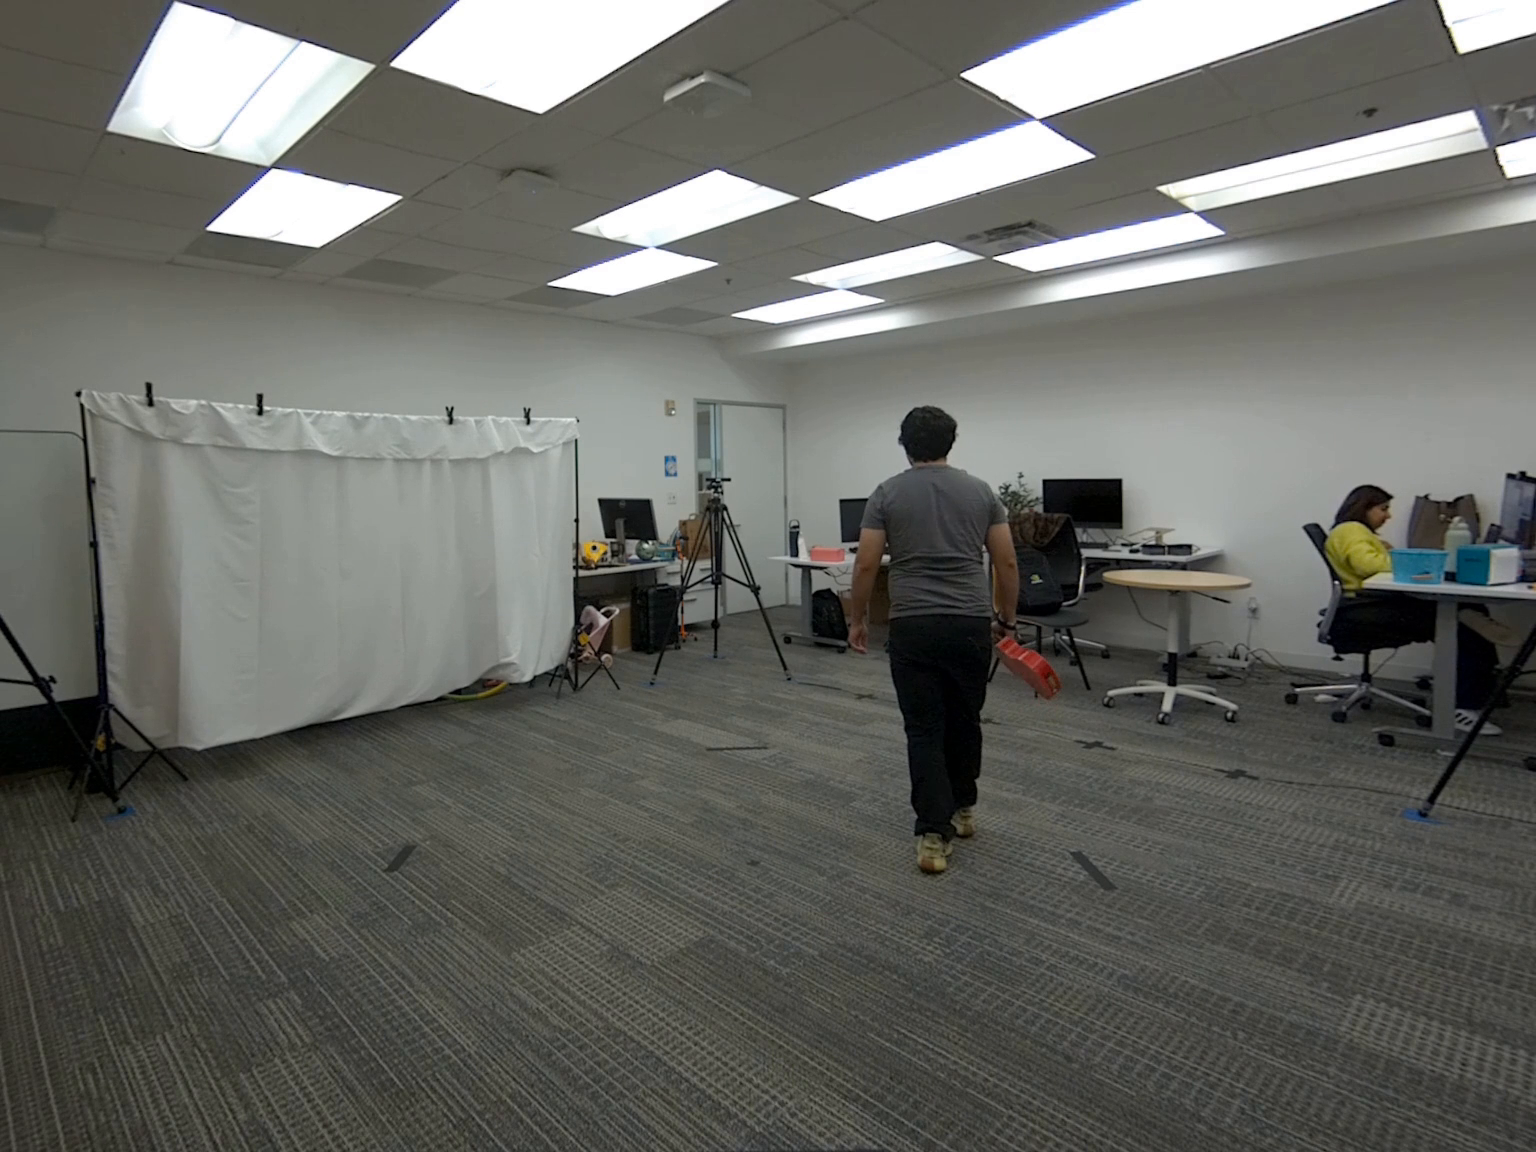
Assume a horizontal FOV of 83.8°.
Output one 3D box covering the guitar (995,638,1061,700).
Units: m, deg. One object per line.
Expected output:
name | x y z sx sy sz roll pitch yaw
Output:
guitar | 0.904 0.304 3.216 0.070 0.188 0.511 -39 22 -4
